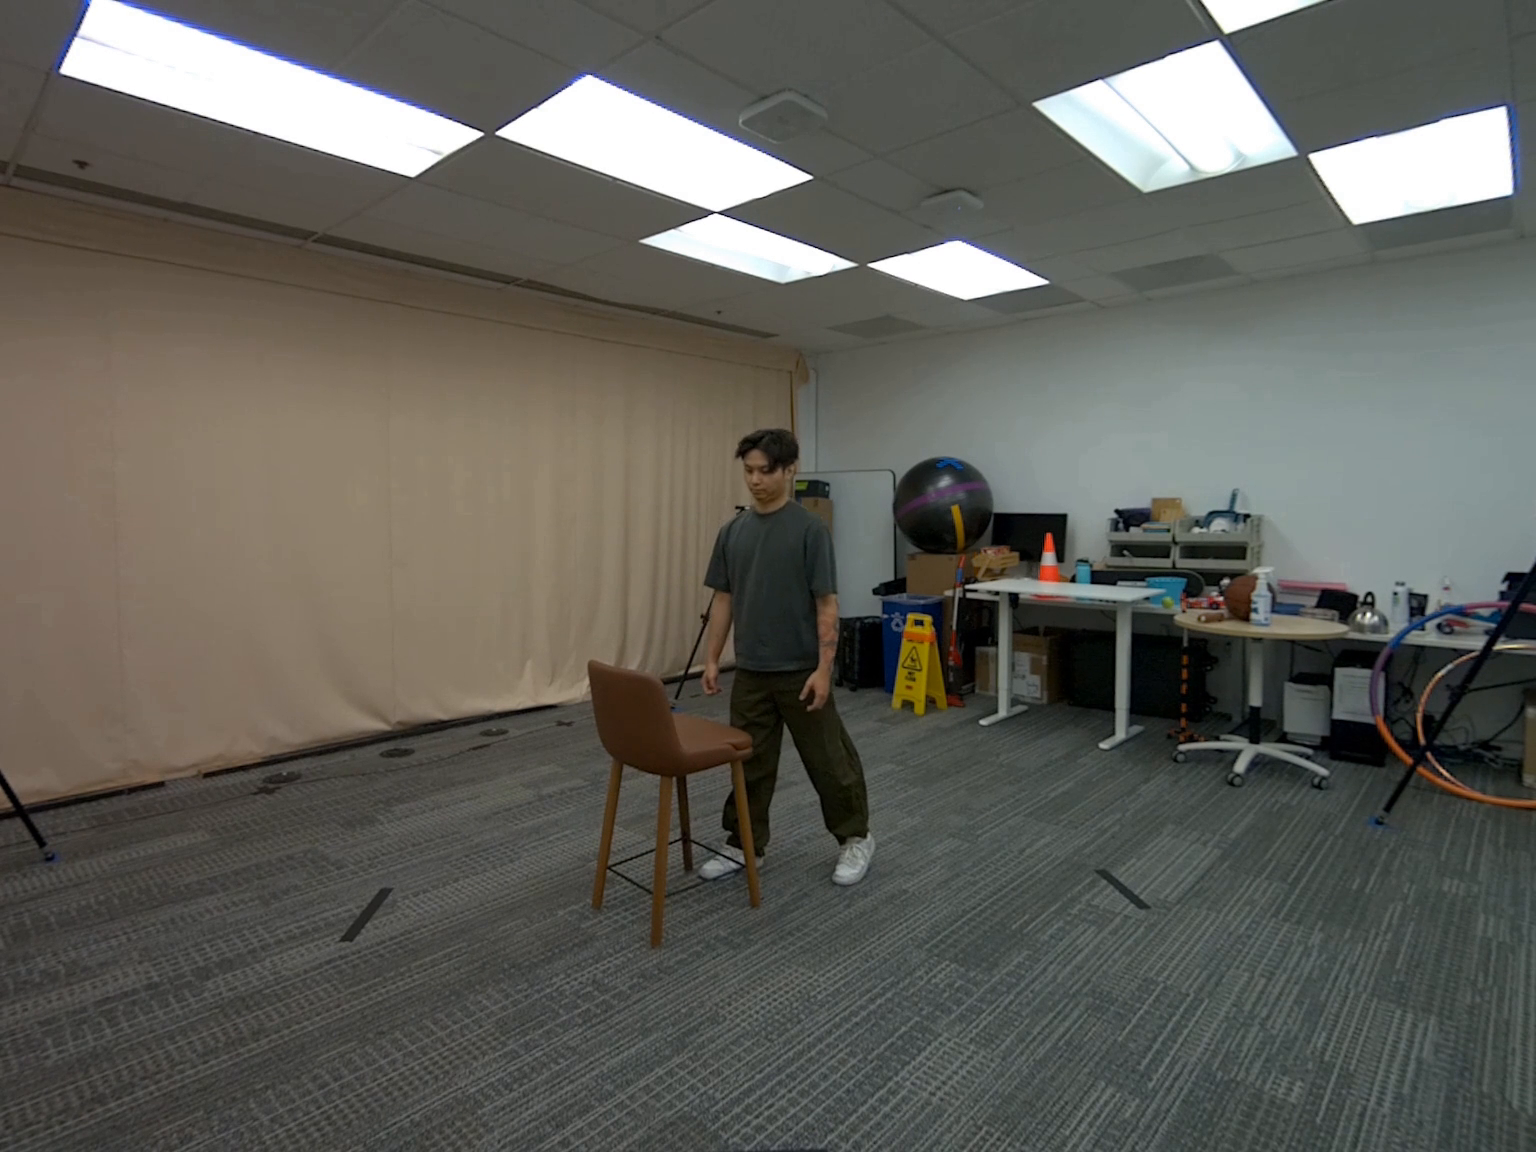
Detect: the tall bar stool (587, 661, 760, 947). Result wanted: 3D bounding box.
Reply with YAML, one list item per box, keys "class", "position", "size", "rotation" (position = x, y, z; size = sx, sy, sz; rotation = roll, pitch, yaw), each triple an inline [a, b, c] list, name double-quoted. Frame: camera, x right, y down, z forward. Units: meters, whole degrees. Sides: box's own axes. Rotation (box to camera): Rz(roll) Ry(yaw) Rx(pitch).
- class: "tall bar stool"
  position: [-0.319, 0.713, 2.910]
  size: [0.454, 0.887, 0.472]
  rotation: [-5, 6, -41]
